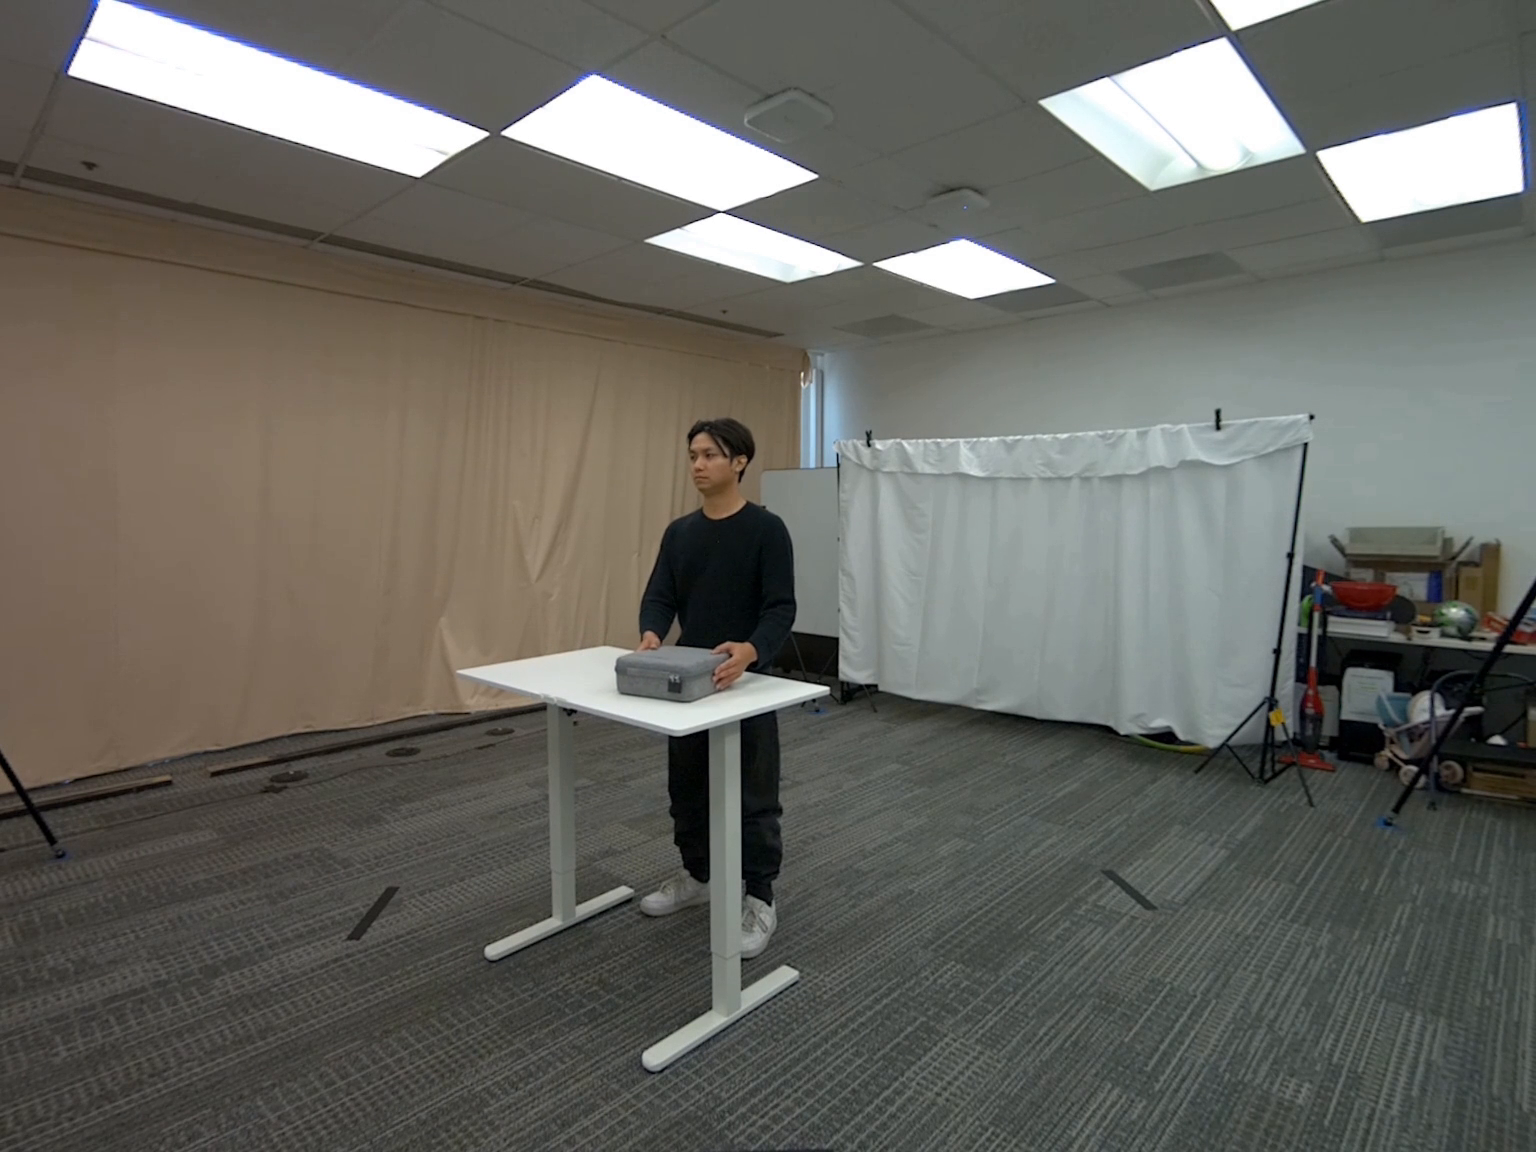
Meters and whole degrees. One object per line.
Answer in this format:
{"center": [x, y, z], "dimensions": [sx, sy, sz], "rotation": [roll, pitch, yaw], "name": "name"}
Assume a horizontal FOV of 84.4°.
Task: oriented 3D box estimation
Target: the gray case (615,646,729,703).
{"center": [-0.272, 0.266, 2.345], "dimensions": [0.264, 0.104, 0.254], "rotation": [2, 5, 31], "name": "gray case"}
